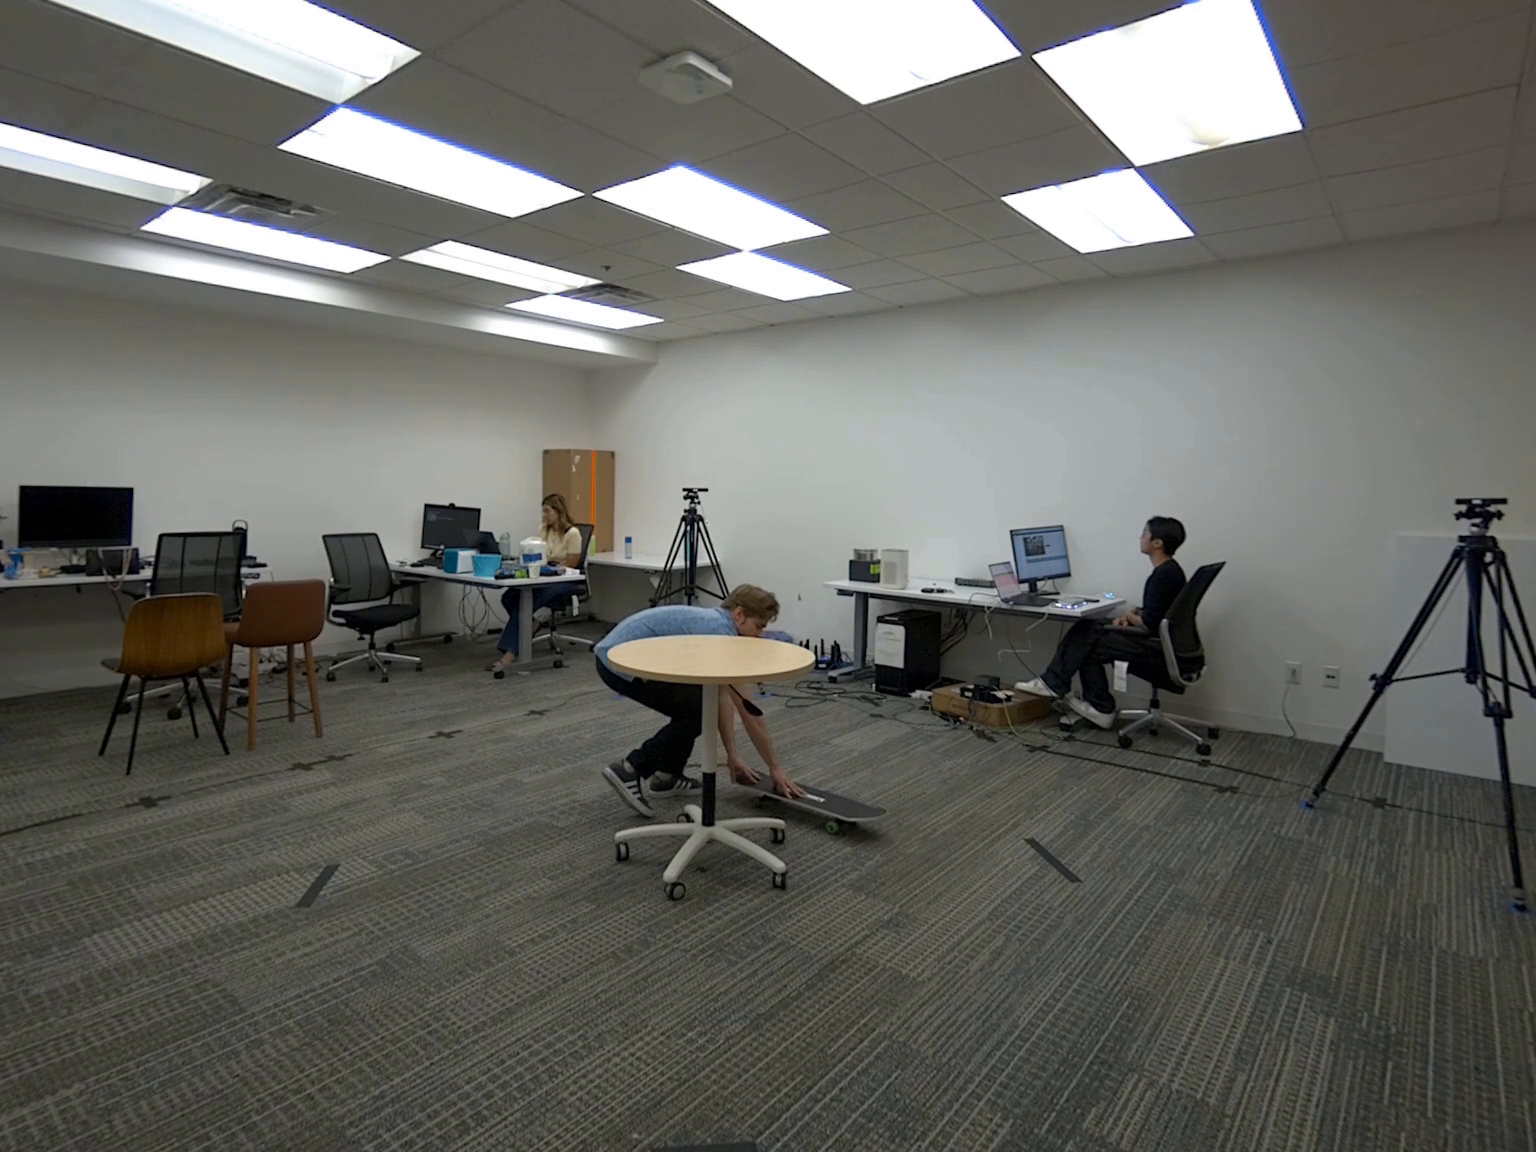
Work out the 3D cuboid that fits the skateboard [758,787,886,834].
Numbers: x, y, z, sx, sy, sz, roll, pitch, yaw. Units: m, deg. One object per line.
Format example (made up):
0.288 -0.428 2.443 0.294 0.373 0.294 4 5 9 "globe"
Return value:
0.145 0.968 3.652 0.812 0.110 0.188 5 7 40 "skateboard"
